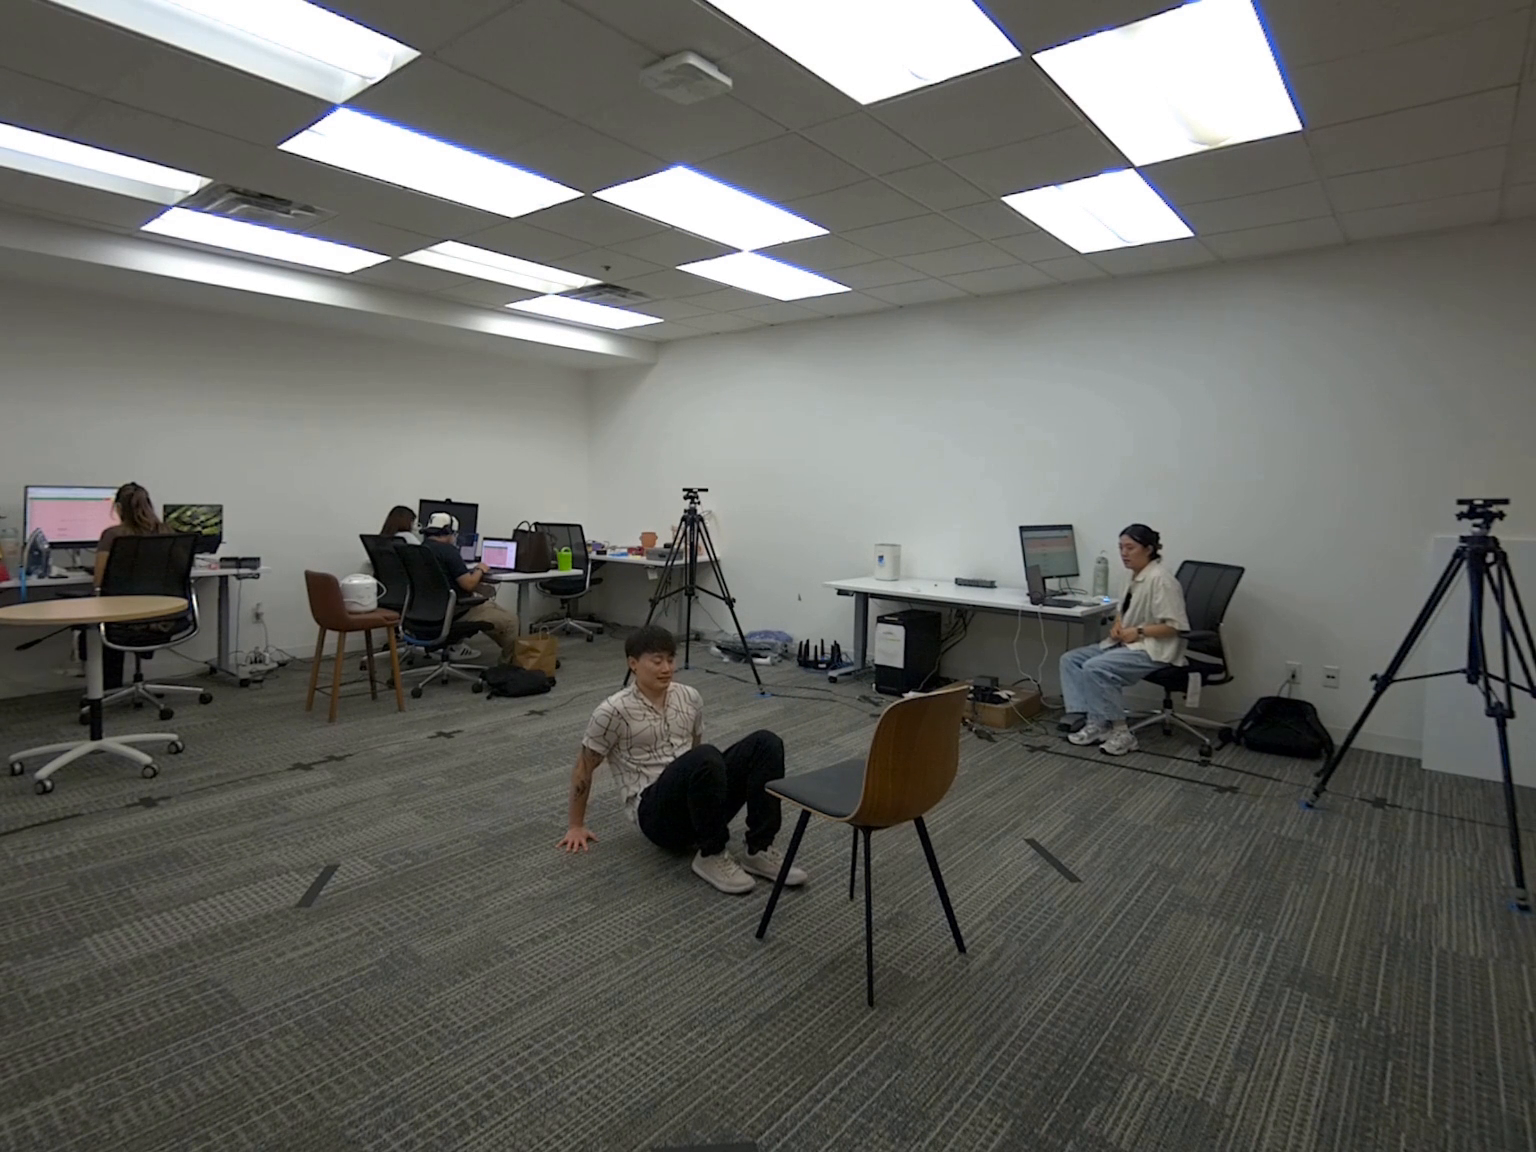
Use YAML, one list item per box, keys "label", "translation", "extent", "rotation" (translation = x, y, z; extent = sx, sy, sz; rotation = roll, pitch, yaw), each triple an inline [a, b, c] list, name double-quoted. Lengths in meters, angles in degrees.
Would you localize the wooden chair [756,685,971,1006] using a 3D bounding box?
- label: "wooden chair"
  translation: [0.282, 0.705, 2.586]
  extent: [0.463, 0.872, 0.542]
  rotation: [-2, 9, -43]
